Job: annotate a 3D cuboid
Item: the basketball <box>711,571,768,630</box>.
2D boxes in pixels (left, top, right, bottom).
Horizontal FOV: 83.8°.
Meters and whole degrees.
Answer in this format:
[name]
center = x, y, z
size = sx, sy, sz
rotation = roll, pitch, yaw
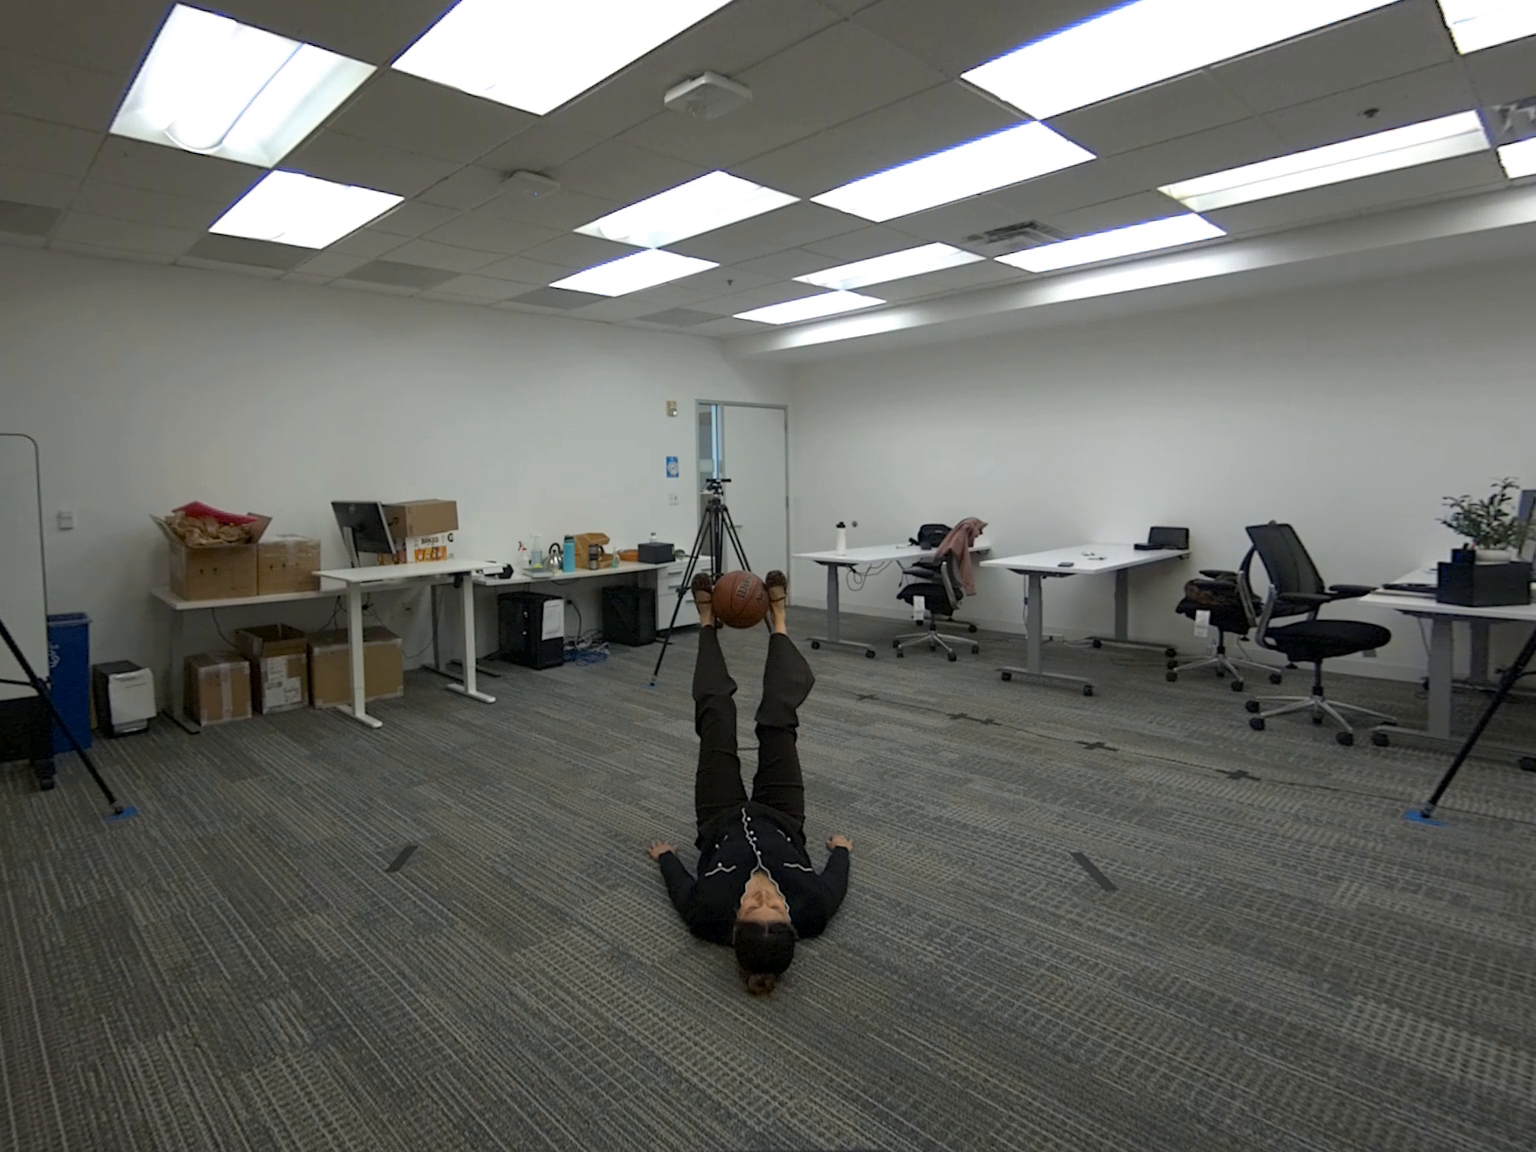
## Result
[basketball]
center = -0.107, 0.093, 3.445
size = 0.236, 0.235, 0.237
rotation = -4, 4, -1
